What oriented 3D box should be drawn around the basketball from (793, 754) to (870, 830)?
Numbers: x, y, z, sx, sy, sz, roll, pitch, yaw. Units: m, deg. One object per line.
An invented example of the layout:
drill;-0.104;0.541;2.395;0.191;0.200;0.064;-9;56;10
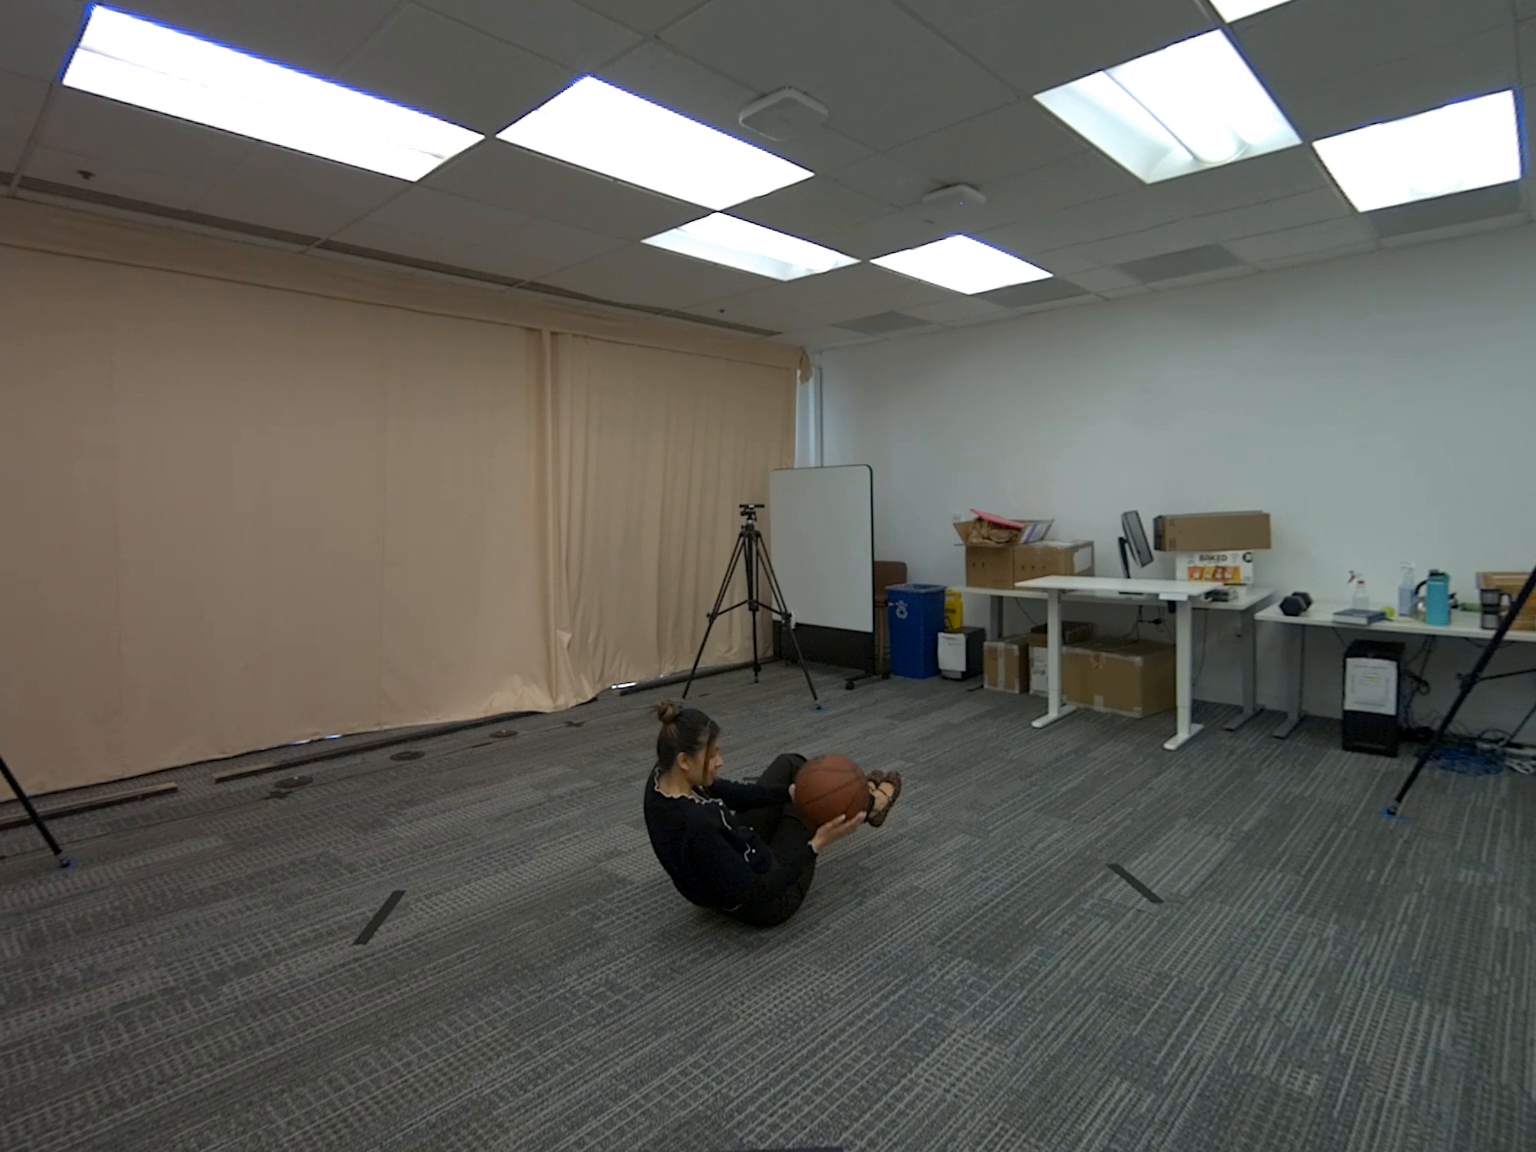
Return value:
basketball;0.195;0.689;2.662;0.236;0.235;0.237;-1;4;-2
